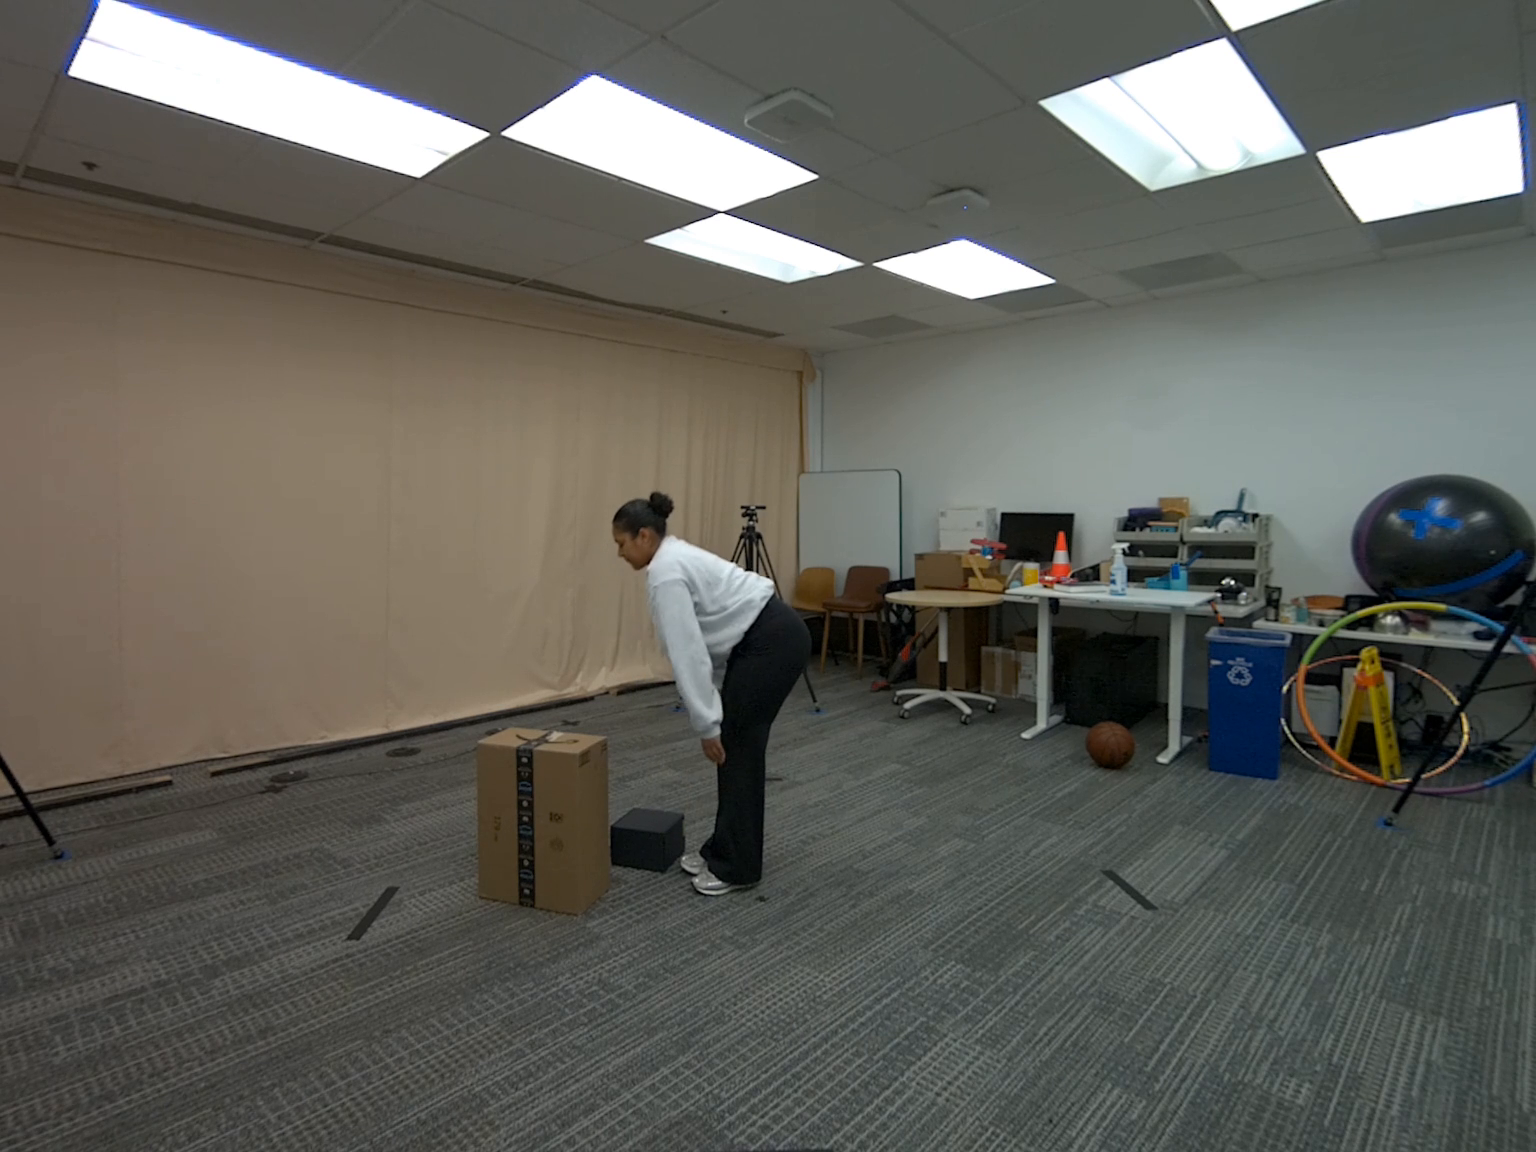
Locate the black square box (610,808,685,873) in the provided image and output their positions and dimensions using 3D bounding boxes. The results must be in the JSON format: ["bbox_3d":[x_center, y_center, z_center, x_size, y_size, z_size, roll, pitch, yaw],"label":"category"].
[{"bbox_3d":[-0.471,1.037,3.327,0.232,0.155,0.213,0,4,19],"label":"black square box"}]
